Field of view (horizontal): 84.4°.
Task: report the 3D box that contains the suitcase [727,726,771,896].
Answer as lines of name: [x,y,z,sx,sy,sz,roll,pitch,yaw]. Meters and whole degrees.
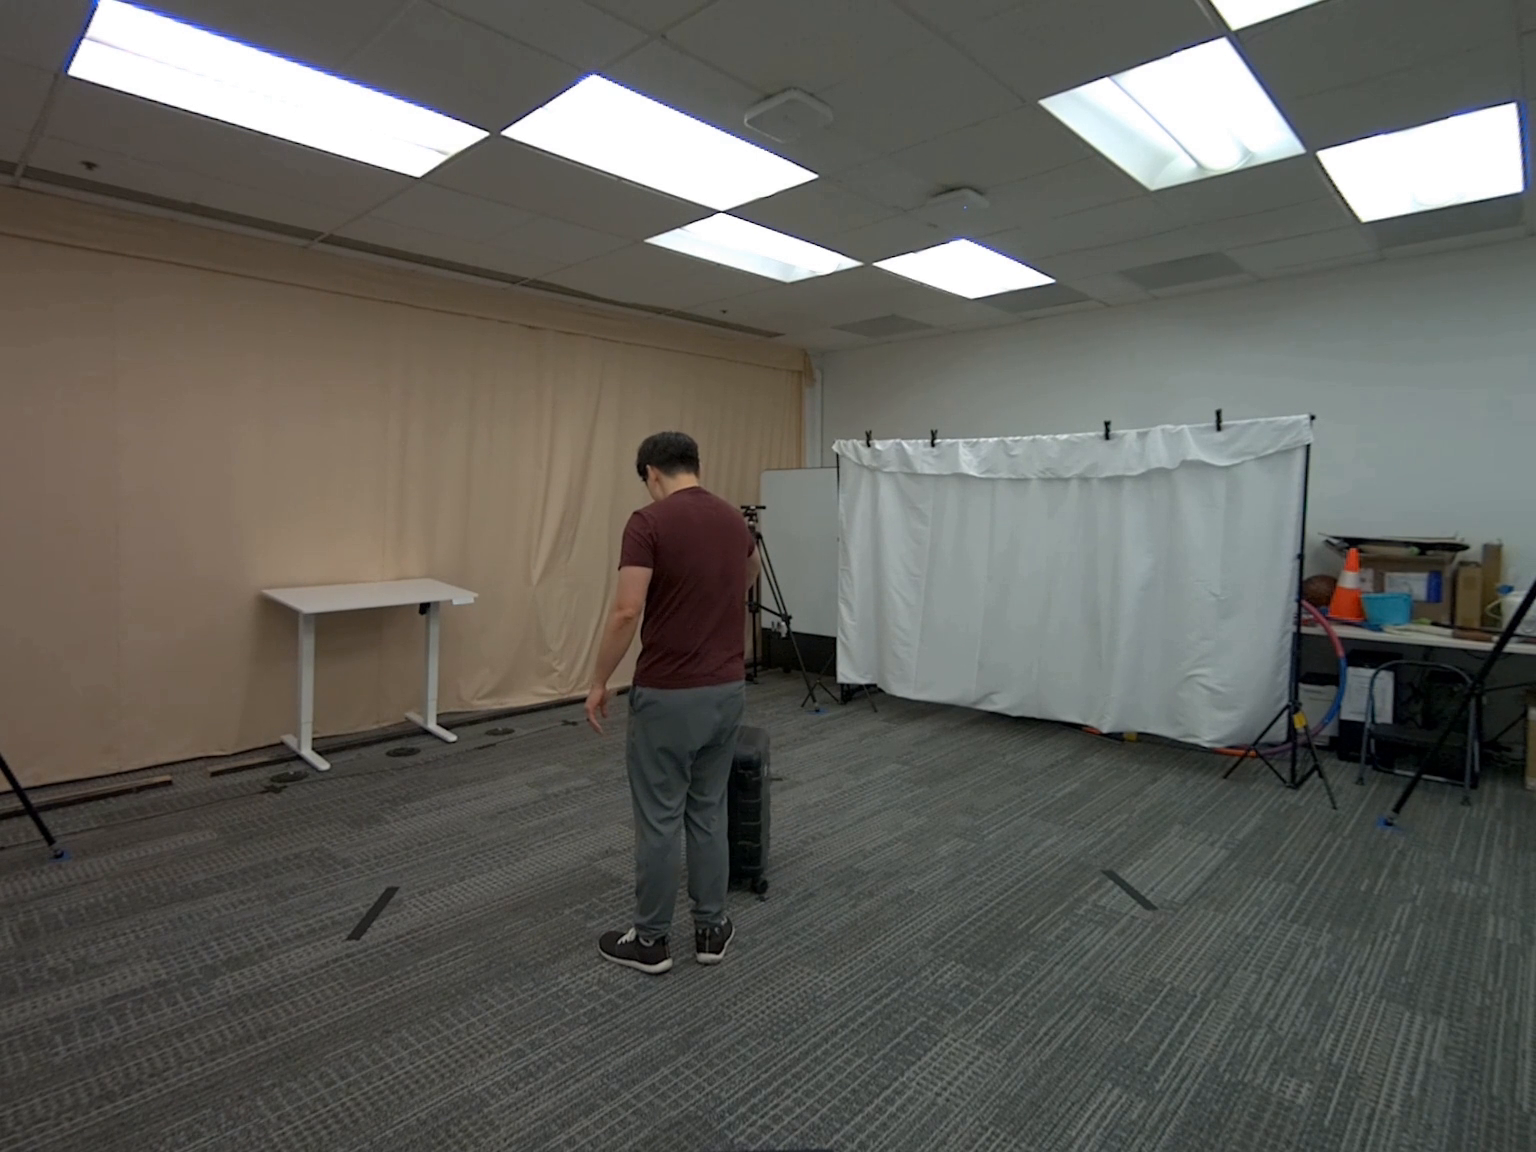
suitcase: [-0.120,0.658,3.156,0.259,0.976,0.382,2,3,5]
